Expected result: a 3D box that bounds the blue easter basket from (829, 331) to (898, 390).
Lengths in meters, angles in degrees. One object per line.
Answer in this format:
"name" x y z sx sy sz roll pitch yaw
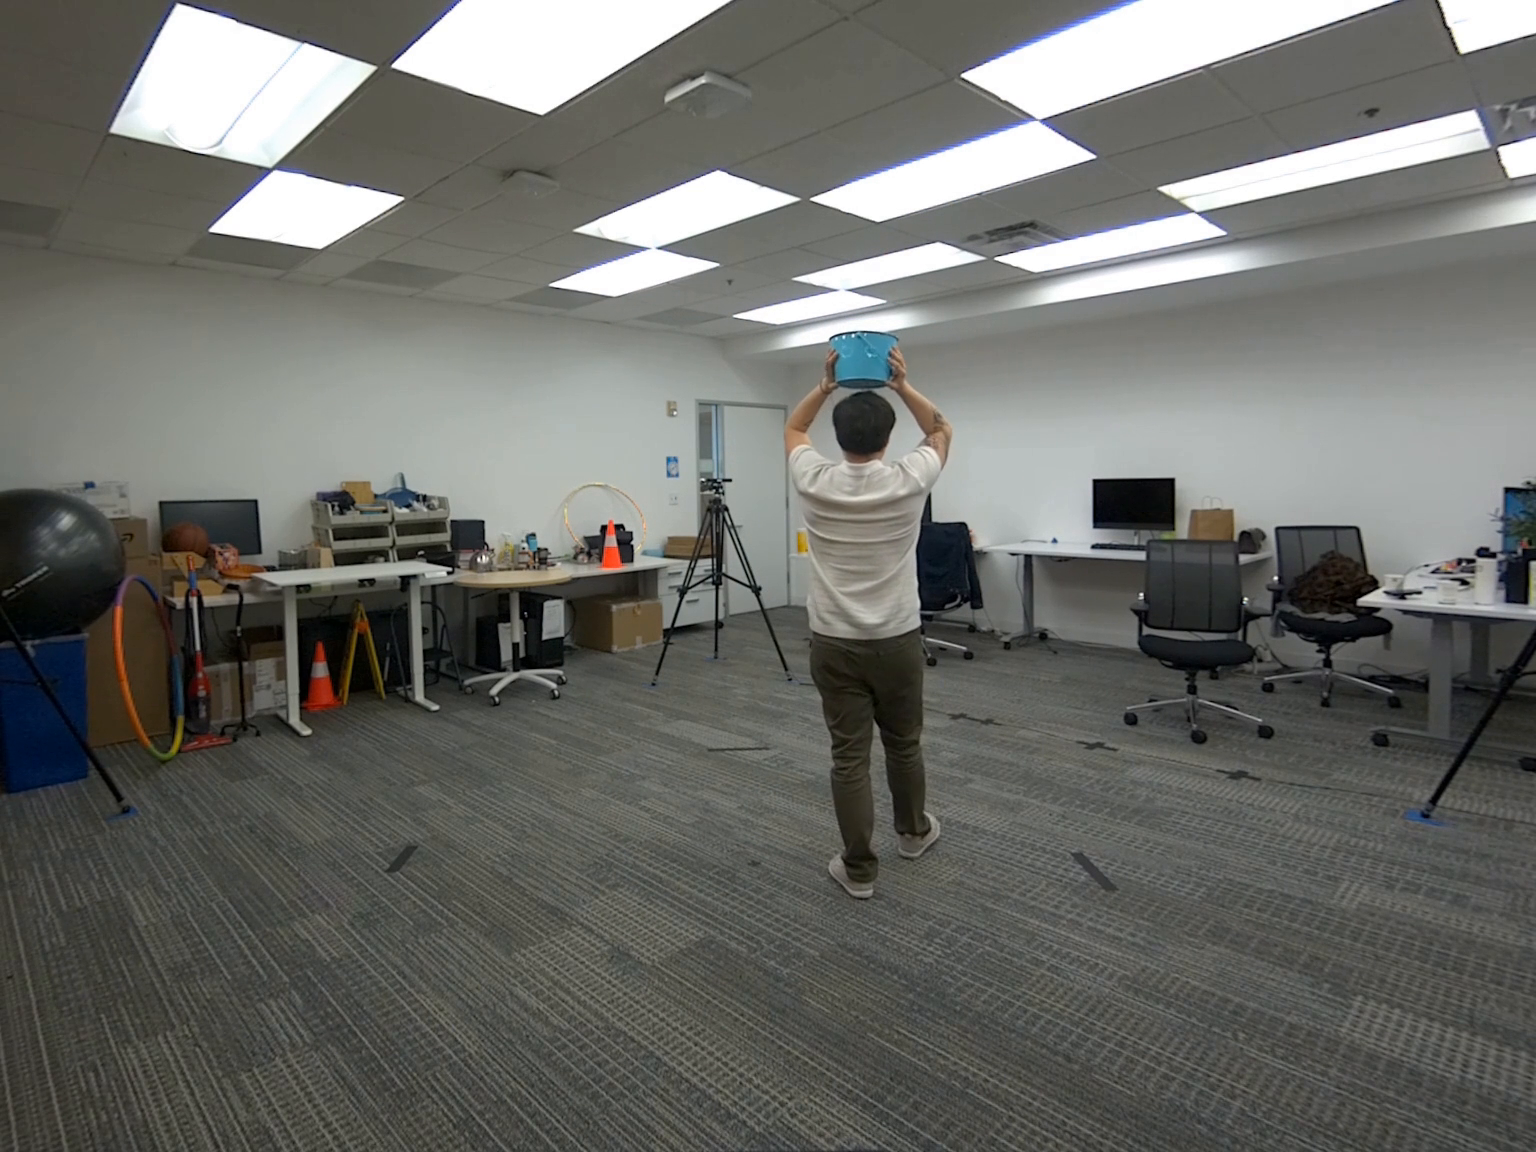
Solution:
"blue easter basket" 0.334 -0.724 2.872 0.243 0.155 0.244 3 3 -2
